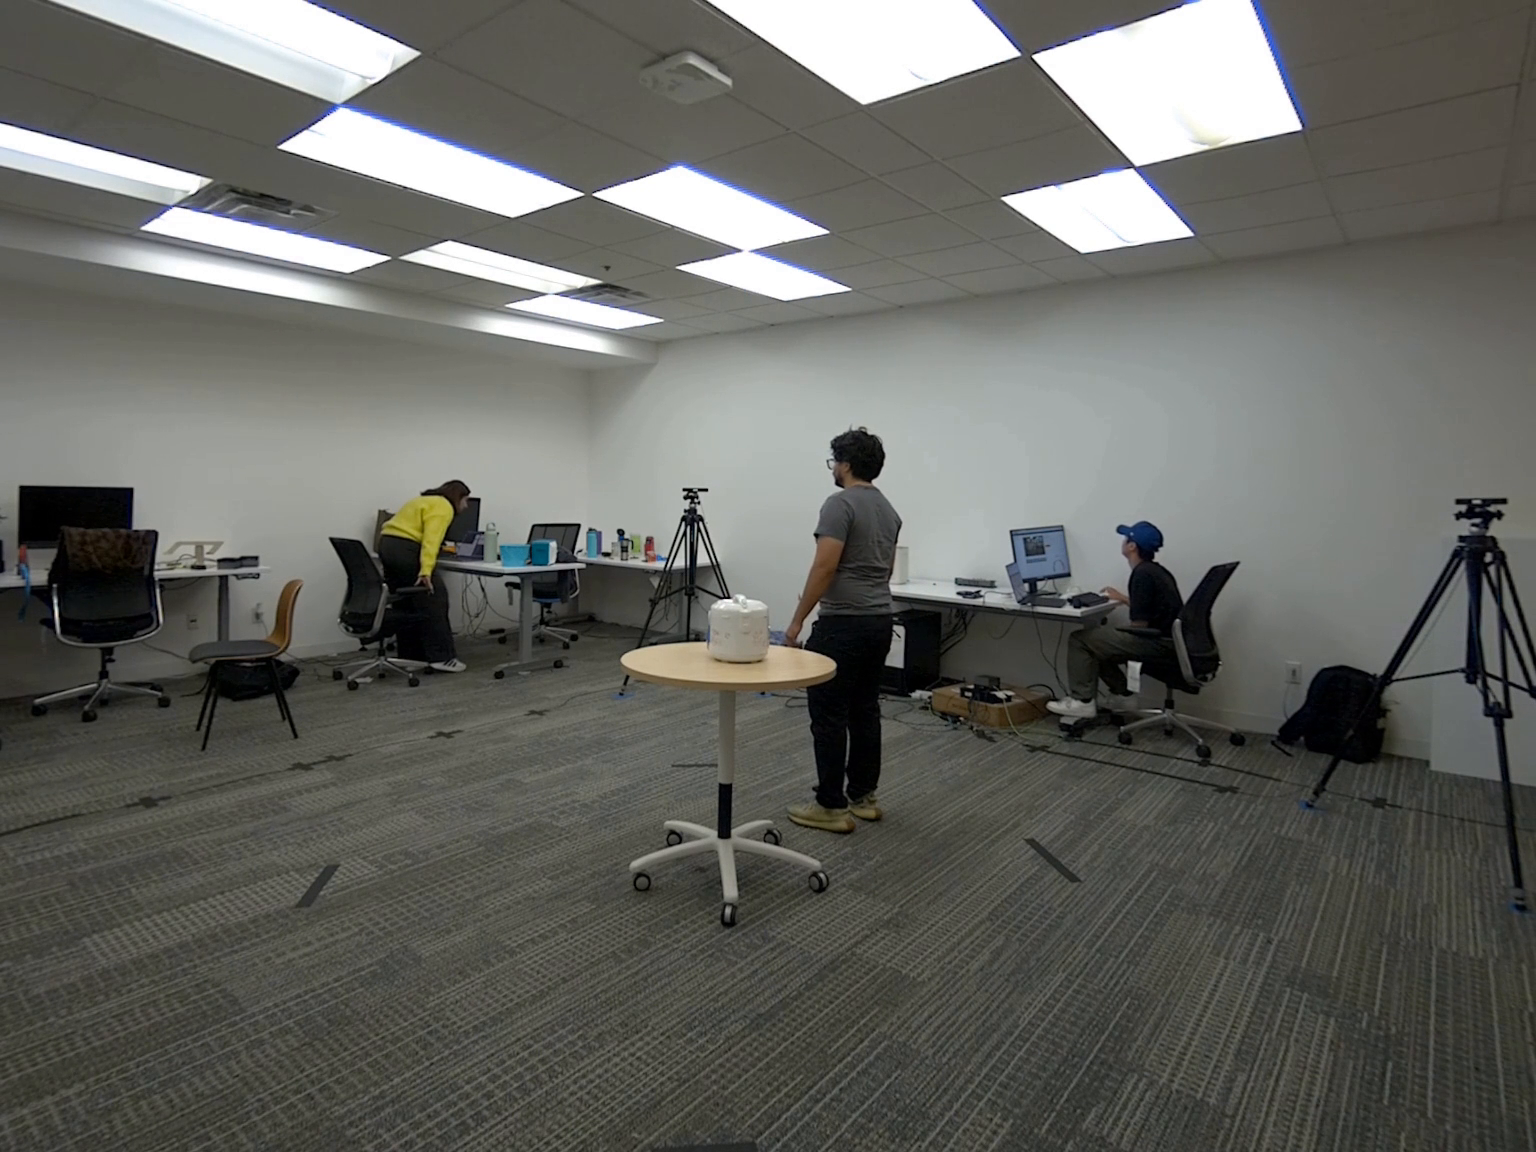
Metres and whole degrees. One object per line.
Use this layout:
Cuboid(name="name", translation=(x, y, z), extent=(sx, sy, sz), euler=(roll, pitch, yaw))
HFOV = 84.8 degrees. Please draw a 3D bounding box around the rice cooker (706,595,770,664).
Cuboid(name="rice cooker", translation=(-0.111, 0.181, 3.056), extent=(0.215, 0.232, 0.224), euler=(0, 4, -12))
